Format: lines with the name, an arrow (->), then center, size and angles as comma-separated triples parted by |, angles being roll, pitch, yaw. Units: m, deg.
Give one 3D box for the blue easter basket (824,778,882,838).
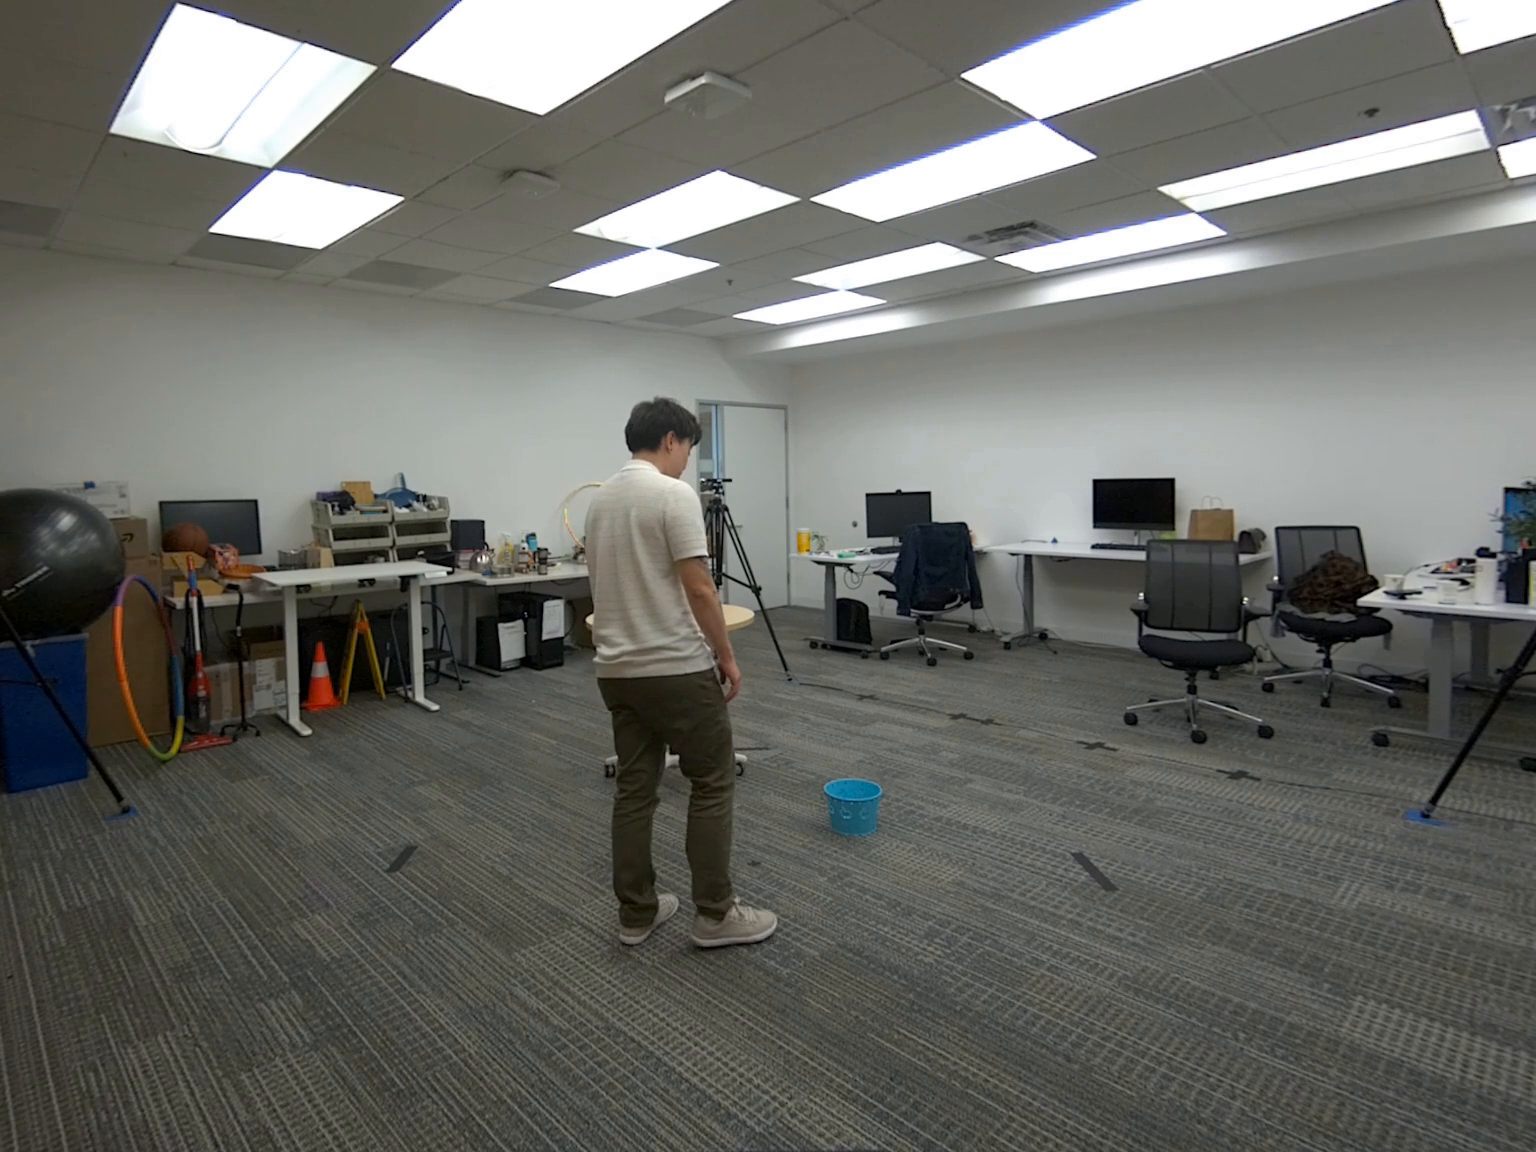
blue easter basket -> 0.343, 0.921, 3.425 | 0.243, 0.155, 0.245 | -1, 5, -2
